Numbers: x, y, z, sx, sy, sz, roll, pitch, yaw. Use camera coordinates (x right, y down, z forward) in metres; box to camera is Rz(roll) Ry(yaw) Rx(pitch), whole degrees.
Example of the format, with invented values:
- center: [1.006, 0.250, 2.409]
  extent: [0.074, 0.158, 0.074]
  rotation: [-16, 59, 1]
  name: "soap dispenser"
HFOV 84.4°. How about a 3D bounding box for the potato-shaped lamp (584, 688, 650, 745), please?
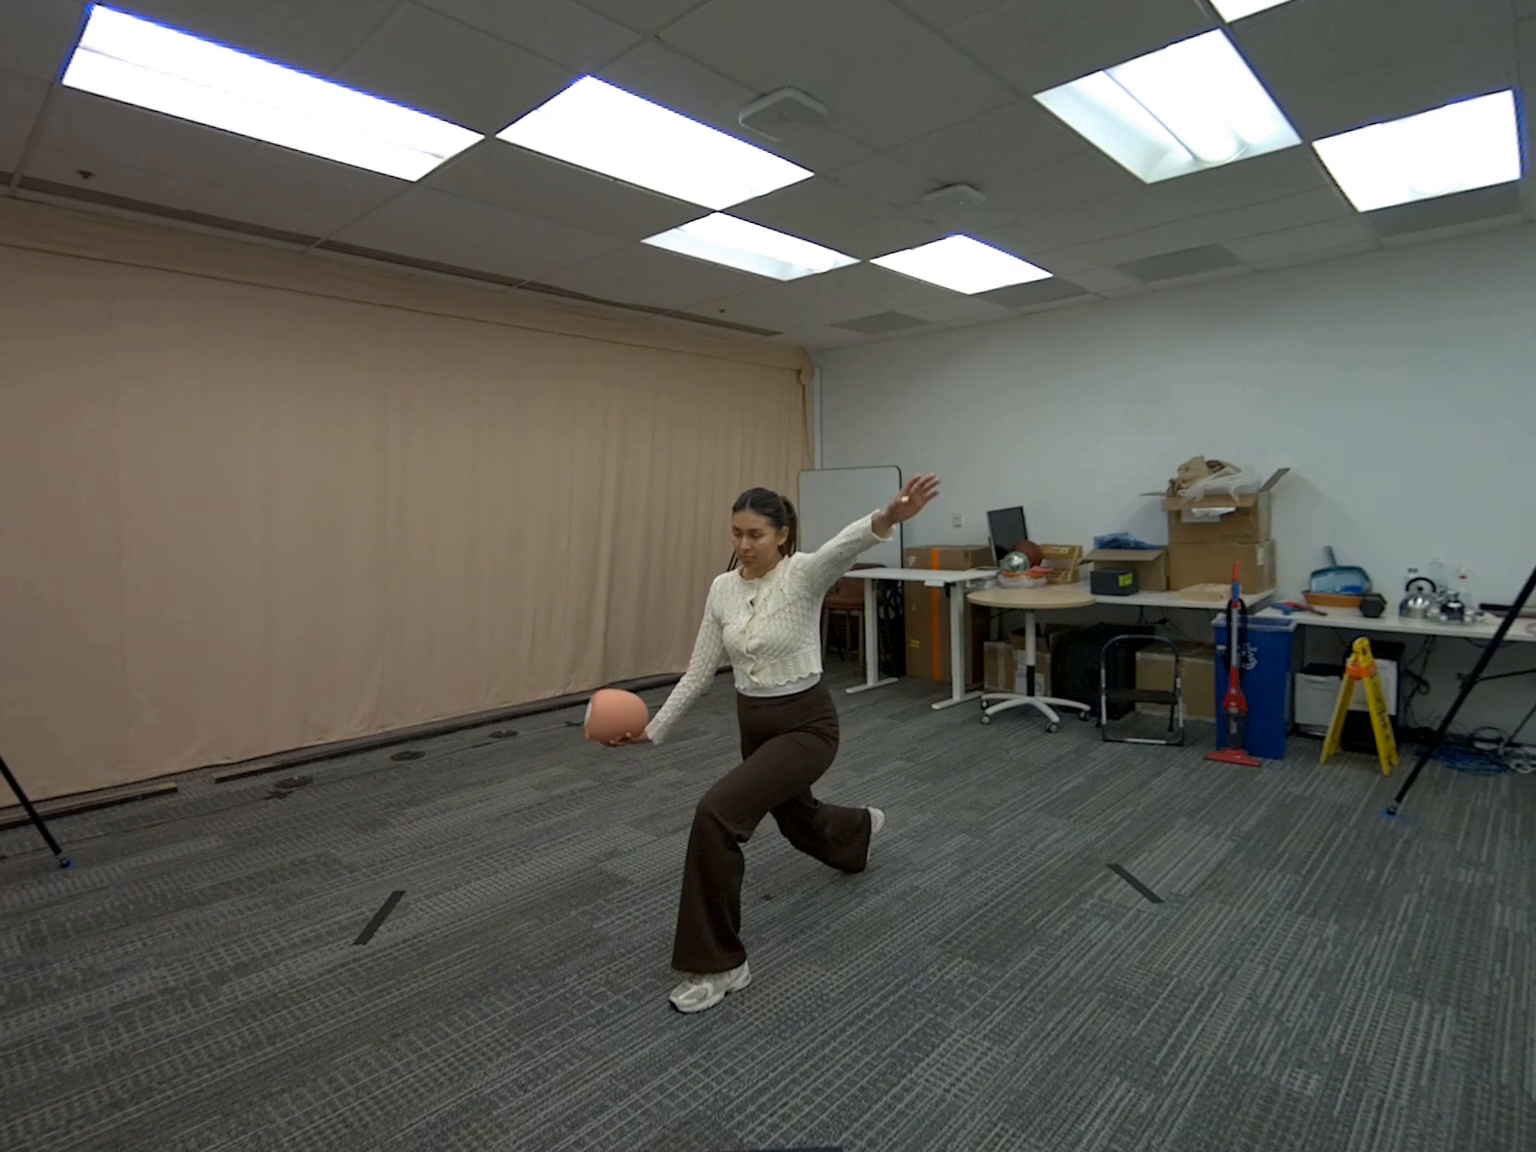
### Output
- center: [-0.486, 0.459, 2.736]
  extent: [0.195, 0.170, 0.168]
  rotation: [12, 19, -15]
  name: "potato-shaped lamp"
